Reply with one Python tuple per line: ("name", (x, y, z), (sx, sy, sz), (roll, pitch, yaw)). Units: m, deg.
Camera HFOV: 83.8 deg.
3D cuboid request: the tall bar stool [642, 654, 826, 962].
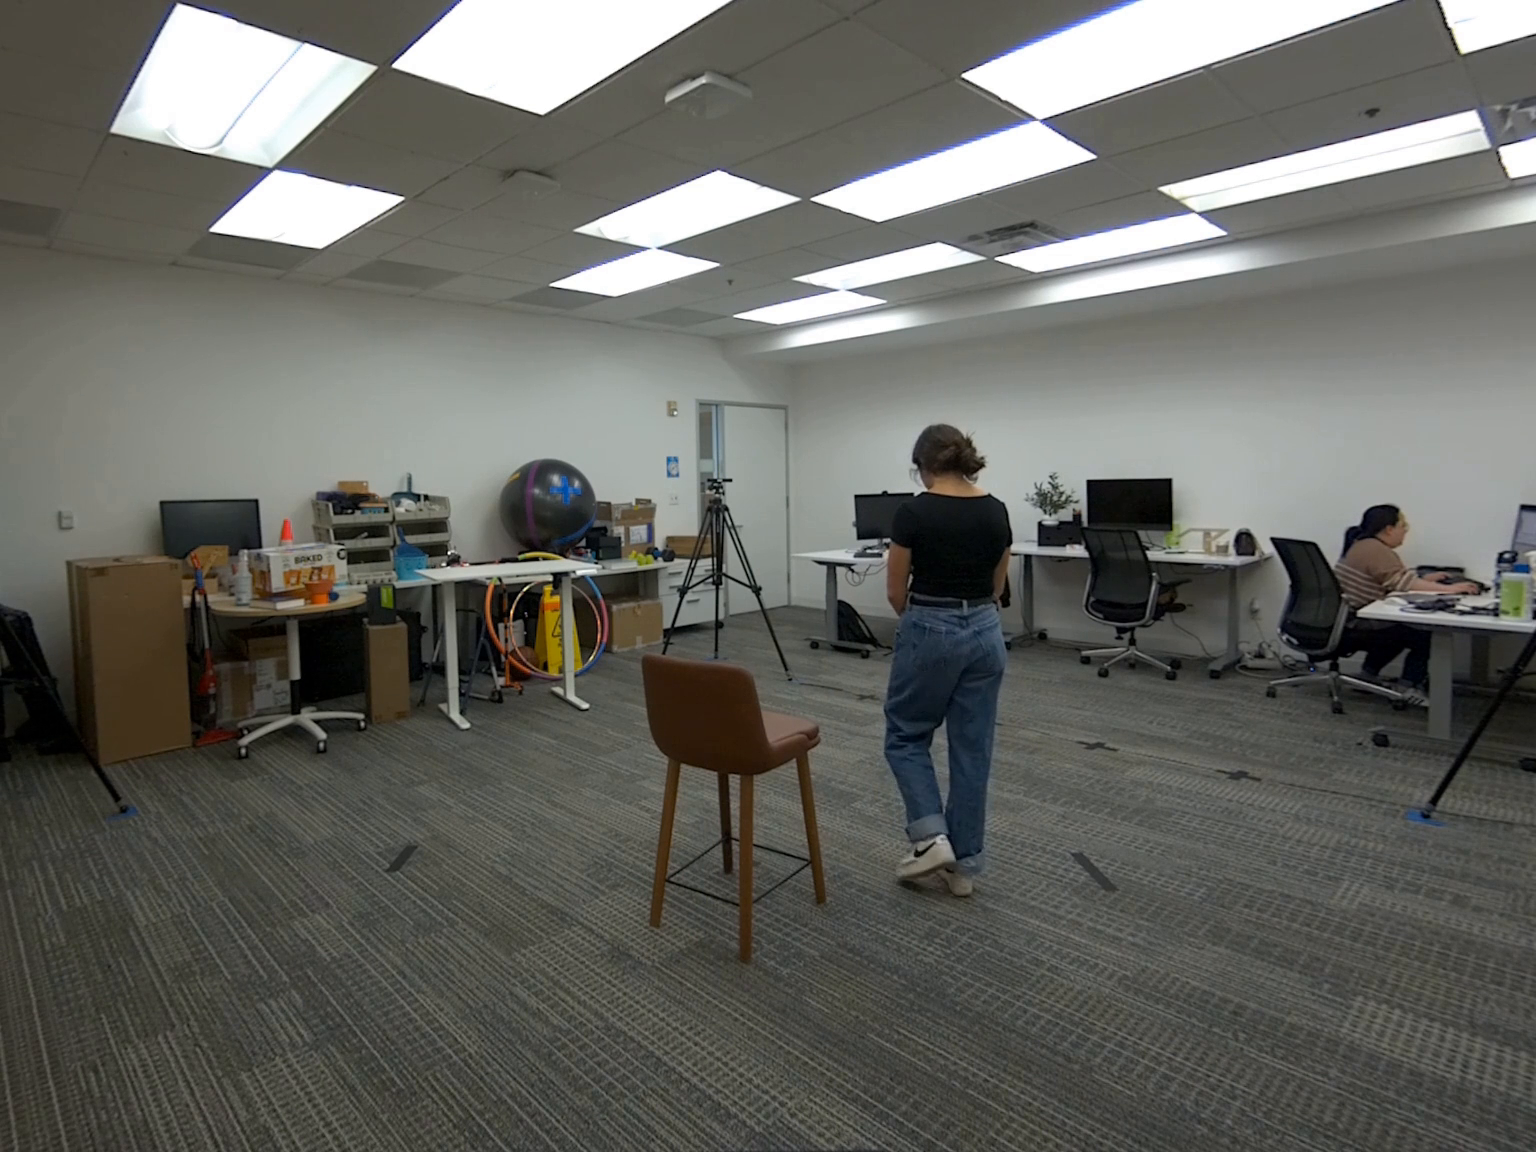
("tall bar stool", (-0.105, 0.657, 2.723), (0.470, 0.885, 0.457), (2, 7, 35))
